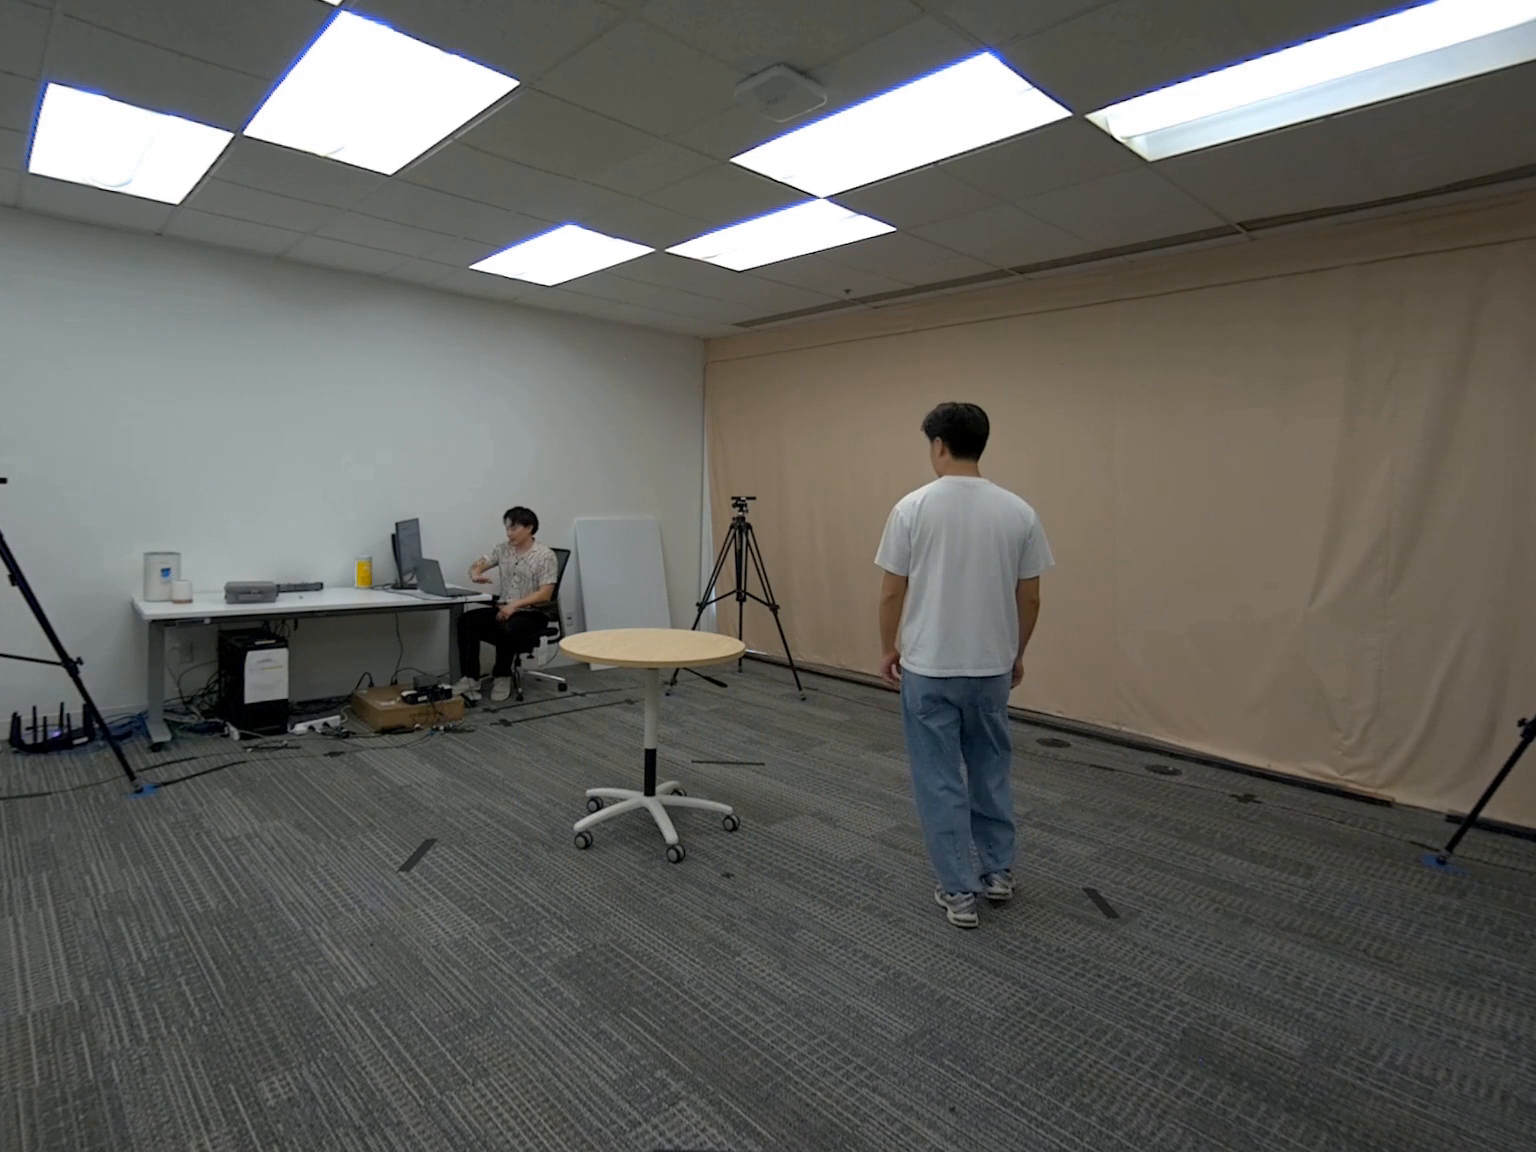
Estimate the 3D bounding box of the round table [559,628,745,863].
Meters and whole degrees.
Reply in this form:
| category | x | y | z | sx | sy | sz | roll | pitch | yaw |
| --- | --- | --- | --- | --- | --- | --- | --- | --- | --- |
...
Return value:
| category | x | y | z | sx | sy | sz | roll | pitch | yaw |
| --- | --- | --- | --- | --- | --- | --- | --- | --- | --- |
| round table | -0.497 | 0.673 | 3.513 | 0.763 | 0.792 | 0.766 | 1 | 4 | -1 |
